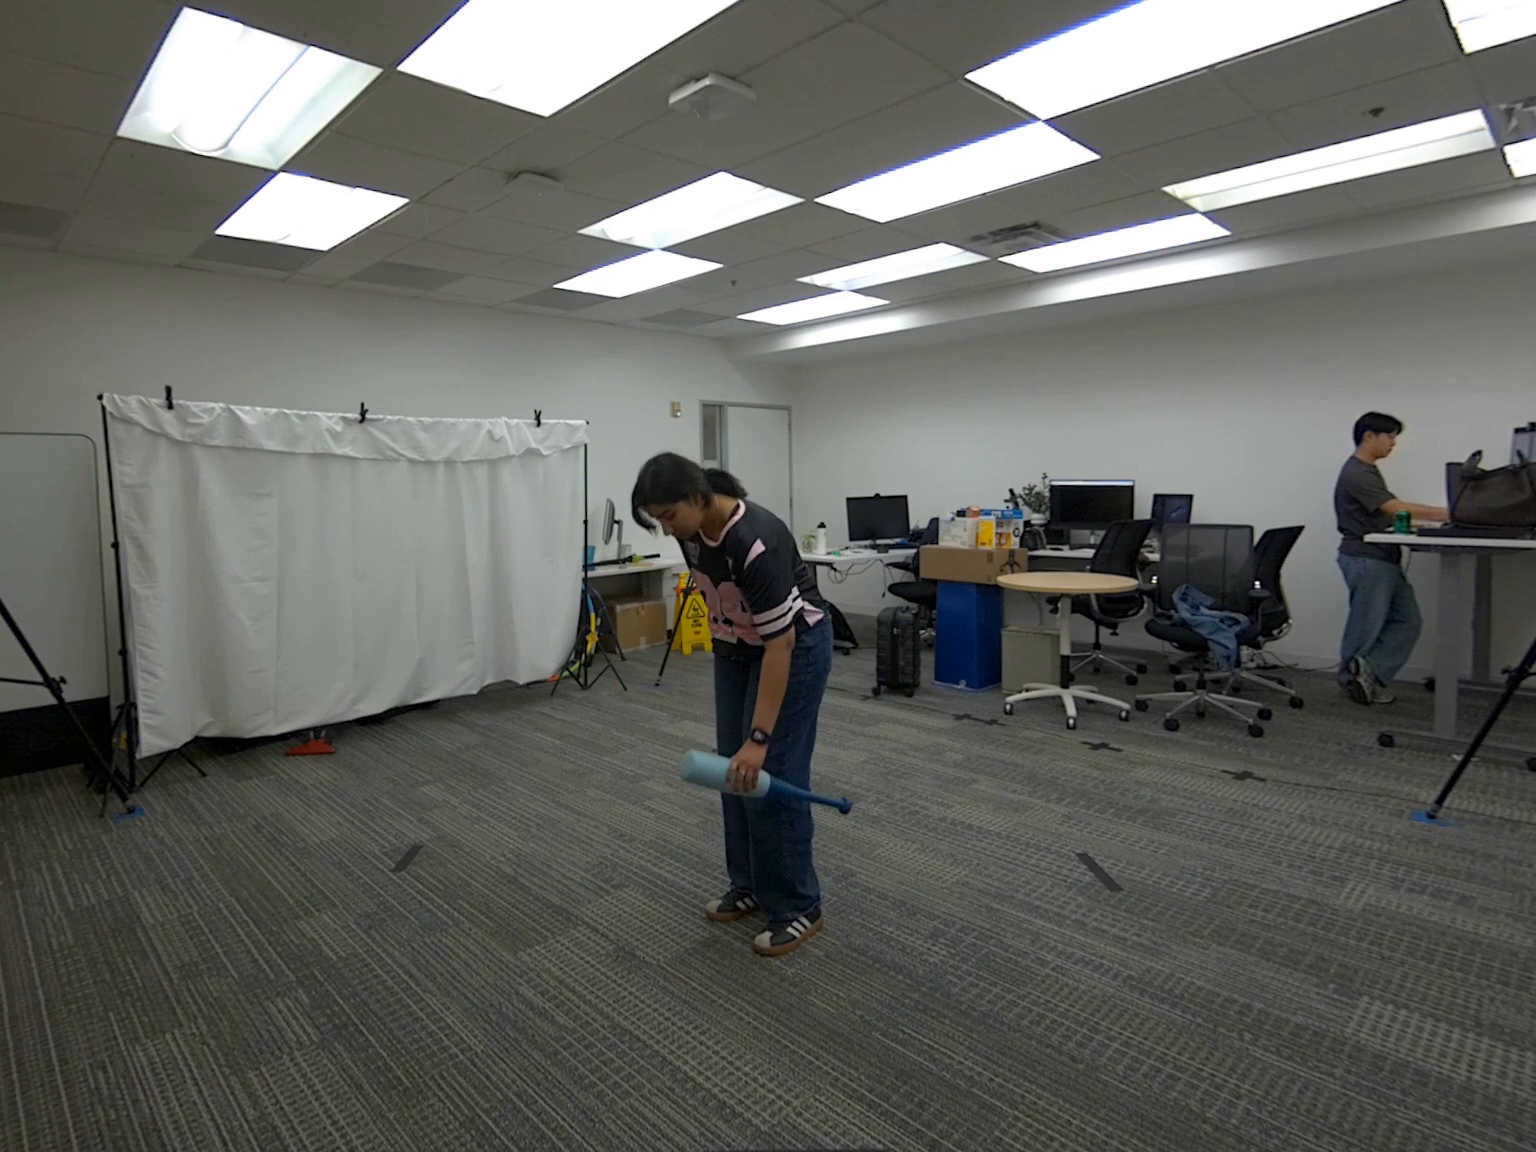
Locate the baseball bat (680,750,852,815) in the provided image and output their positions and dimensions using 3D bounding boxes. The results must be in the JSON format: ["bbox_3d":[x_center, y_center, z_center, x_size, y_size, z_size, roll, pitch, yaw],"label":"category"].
[{"bbox_3d":[0.015,0.600,2.390,0.528,0.089,0.091,20,-5,-24],"label":"baseball bat"}]
